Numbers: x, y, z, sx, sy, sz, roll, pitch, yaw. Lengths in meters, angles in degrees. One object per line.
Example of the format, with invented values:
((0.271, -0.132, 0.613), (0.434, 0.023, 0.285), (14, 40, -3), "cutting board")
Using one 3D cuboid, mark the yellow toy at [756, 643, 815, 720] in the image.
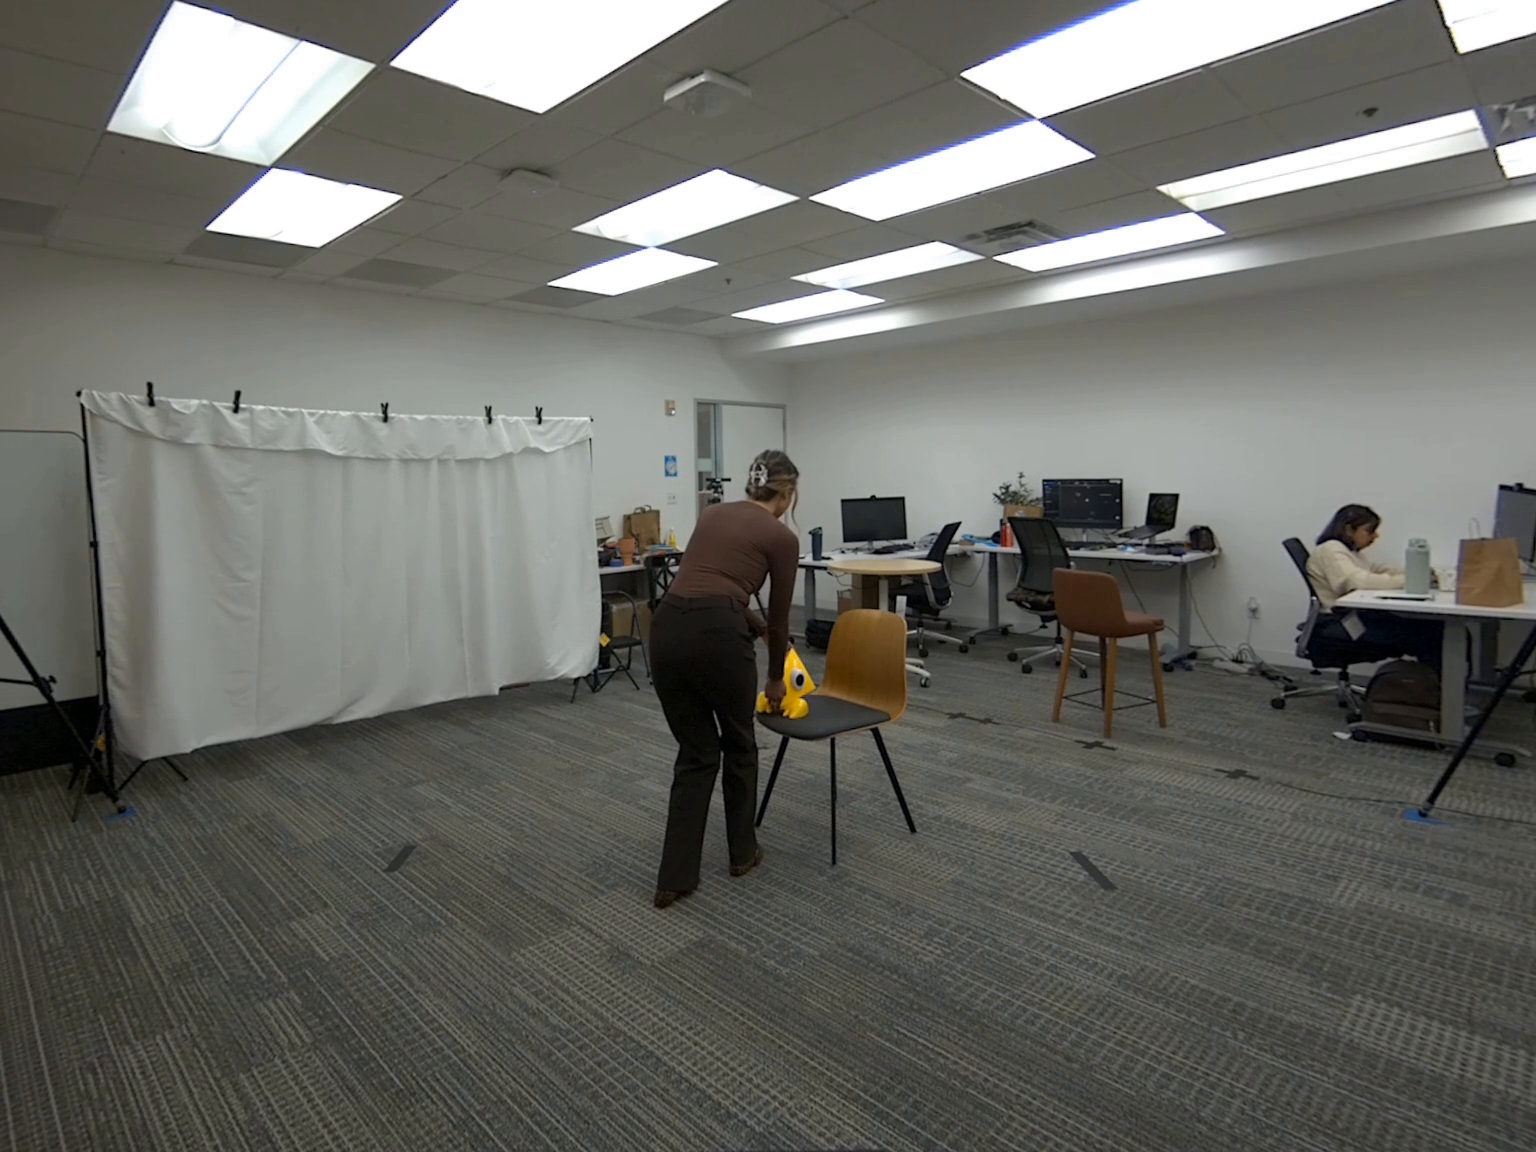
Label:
((0.068, 0.412, 3.344), (0.209, 0.229, 0.190), (7, 8, 21), "yellow toy")
